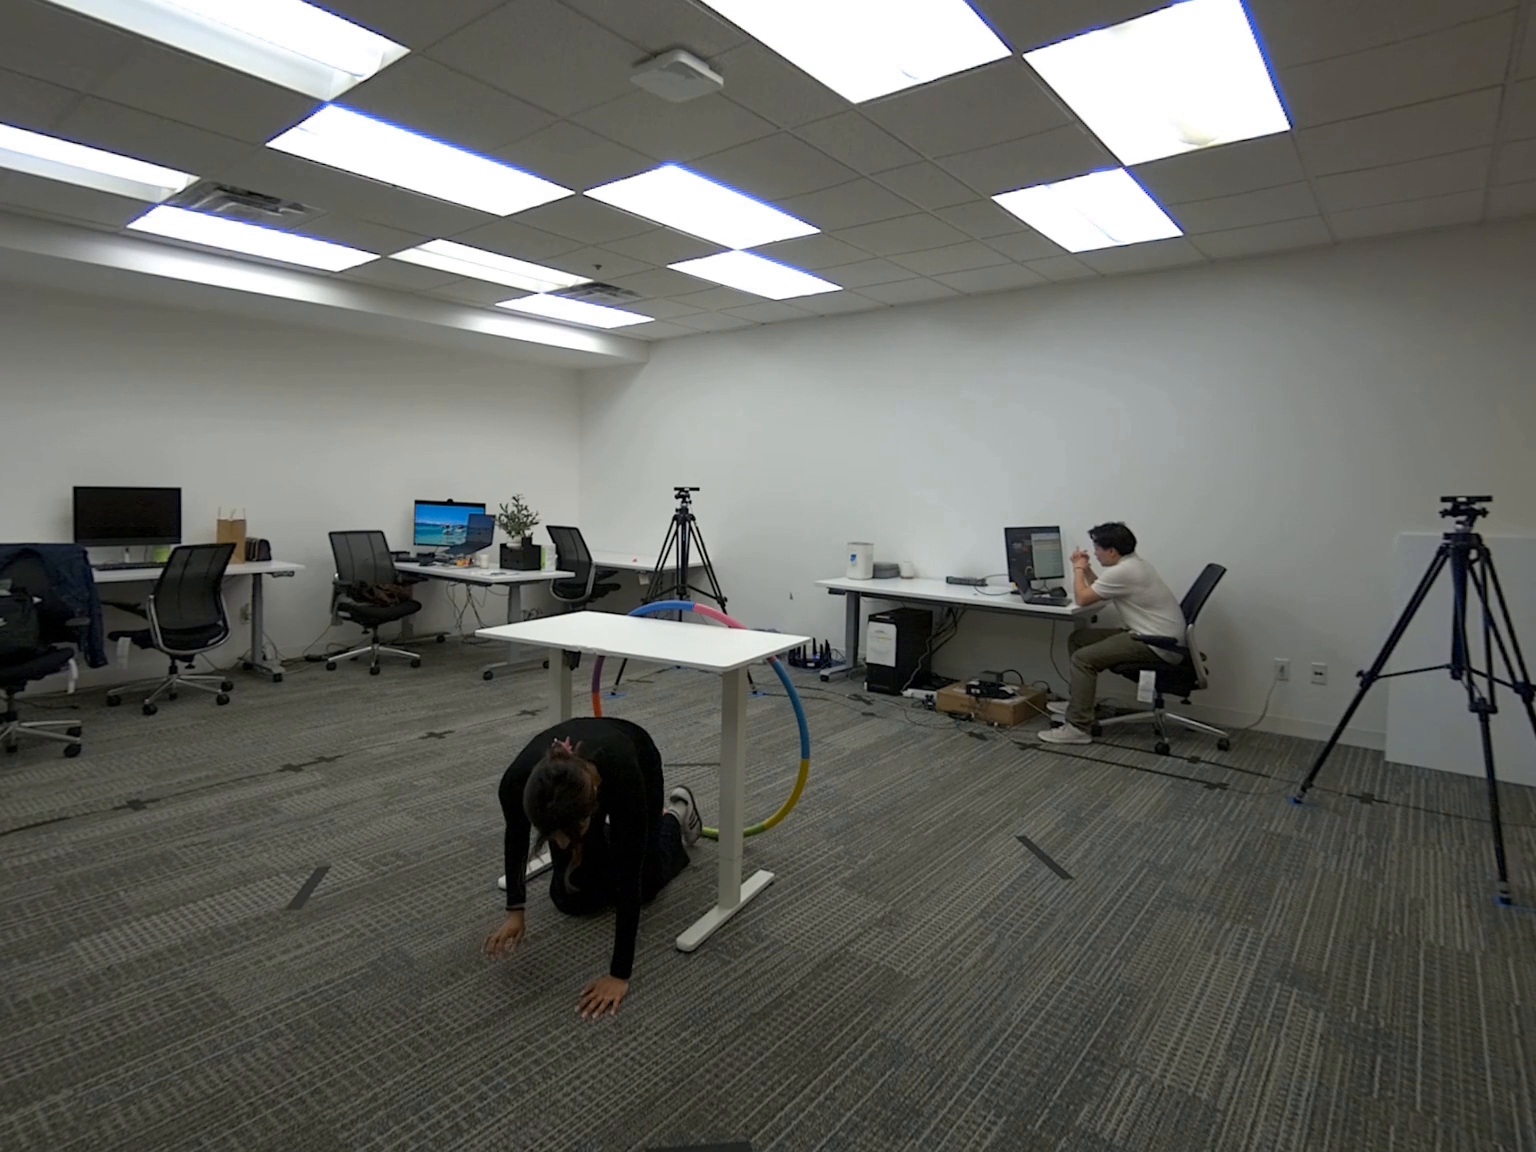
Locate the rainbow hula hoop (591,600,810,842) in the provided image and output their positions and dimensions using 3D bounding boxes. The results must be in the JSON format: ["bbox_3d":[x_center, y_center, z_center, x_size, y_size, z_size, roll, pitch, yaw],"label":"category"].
[{"bbox_3d":[-0.301,0.564,3.306,1.007,0.965,0.035,3,15,30],"label":"rainbow hula hoop"}]
